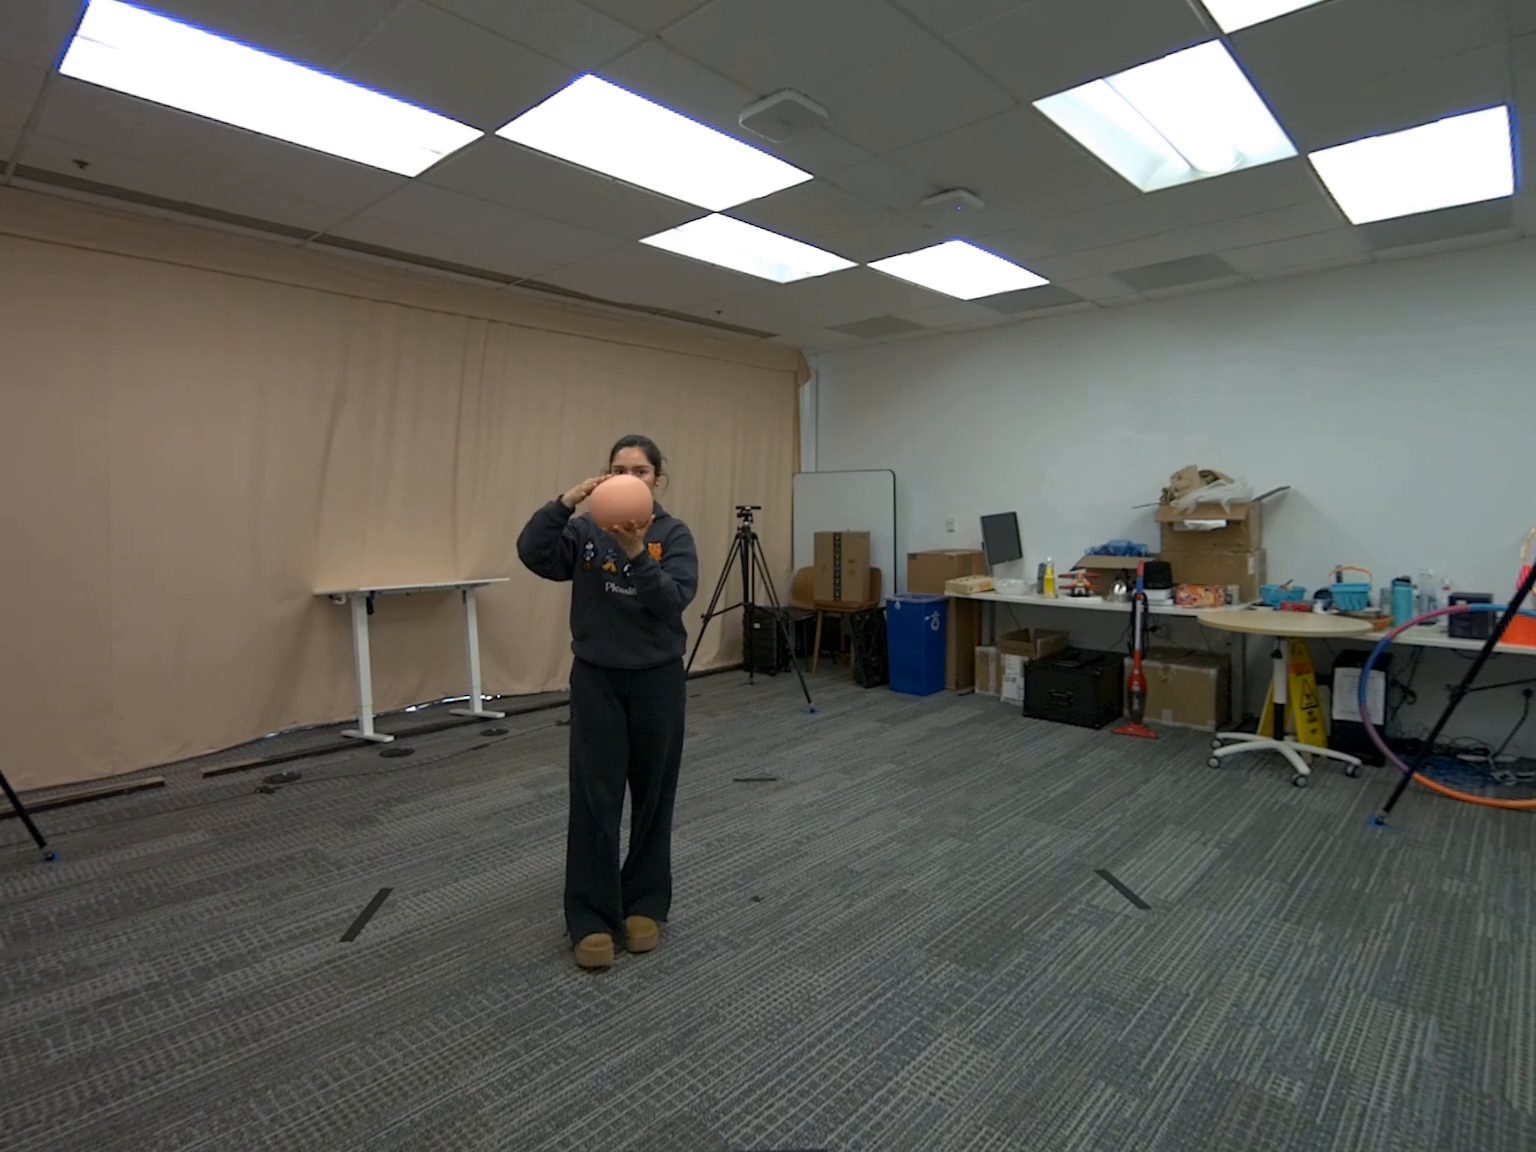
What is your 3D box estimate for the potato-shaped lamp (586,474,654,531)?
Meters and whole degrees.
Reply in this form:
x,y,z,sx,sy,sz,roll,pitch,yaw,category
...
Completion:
x,y,z,sx,sy,sz,roll,pitch,yaw,category
-0.435,-0.200,2.394,0.174,0.164,0.195,-24,2,29,potato-shaped lamp
